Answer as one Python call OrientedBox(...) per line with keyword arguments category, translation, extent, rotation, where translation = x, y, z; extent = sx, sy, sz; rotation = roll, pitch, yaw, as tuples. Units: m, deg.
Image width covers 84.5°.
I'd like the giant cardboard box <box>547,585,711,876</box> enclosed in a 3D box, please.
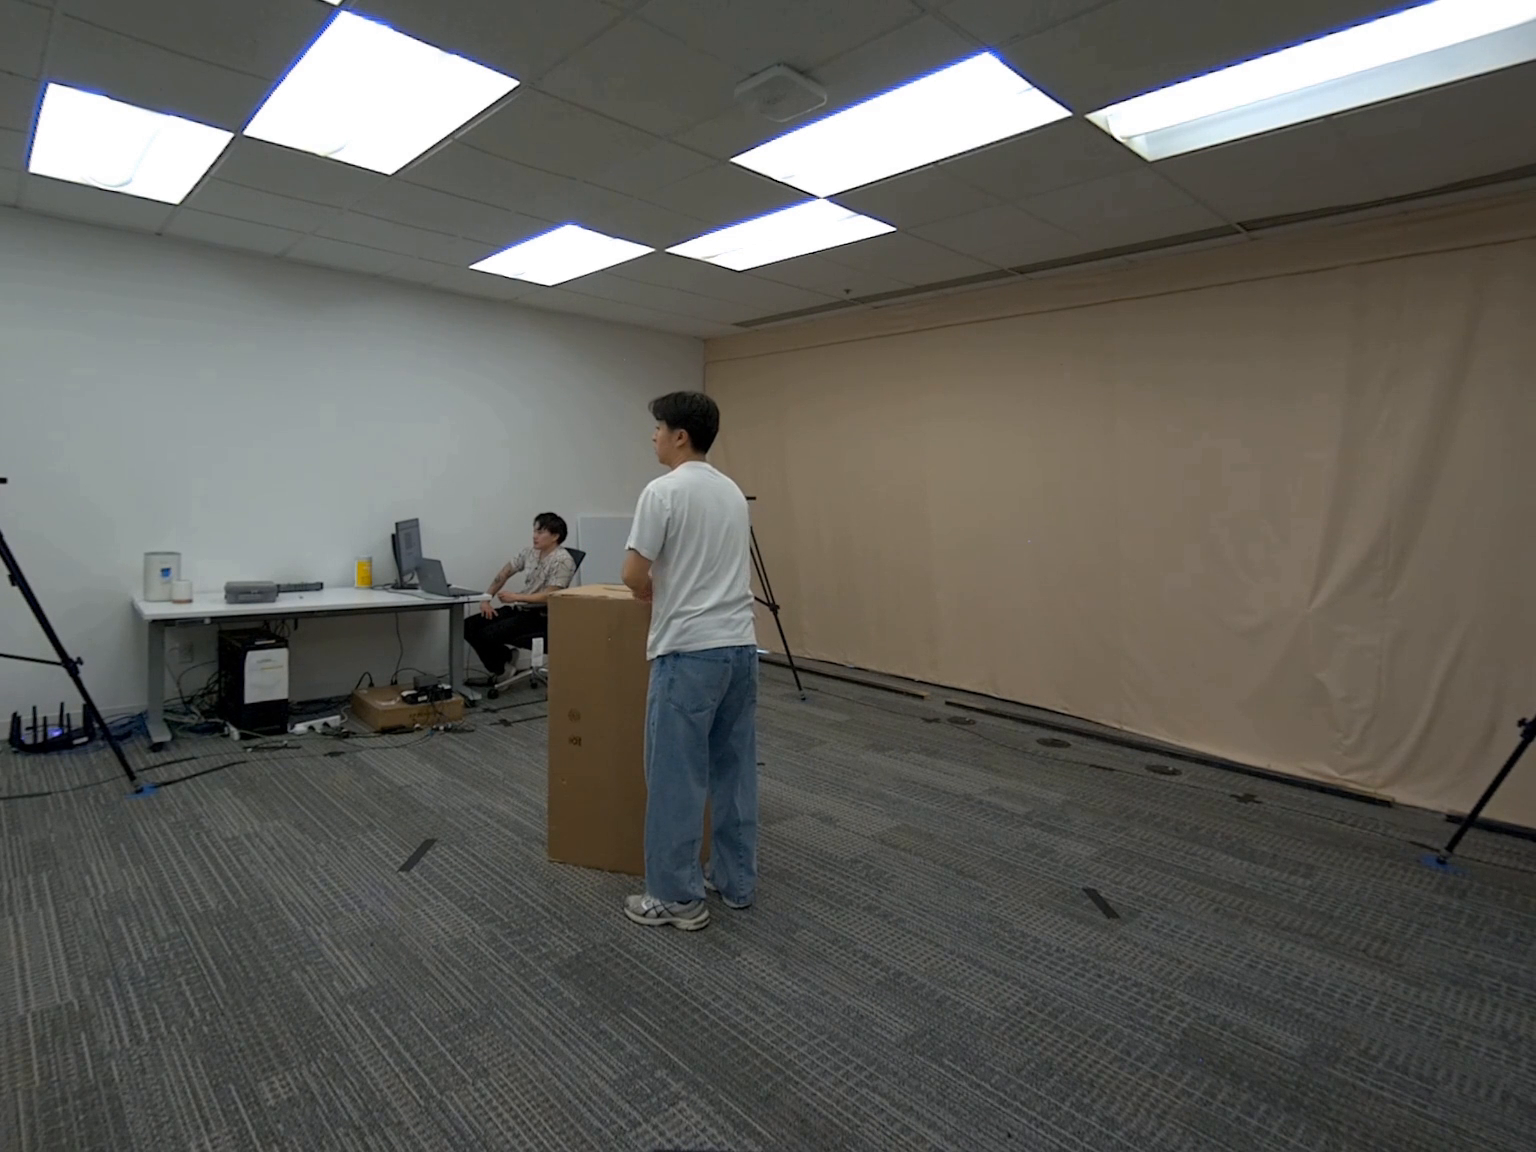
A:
OrientedBox(category="giant cardboard box", translation=(-0.508, 0.566, 3.289), extent=(0.585, 1.023, 0.421), rotation=(3, 4, 16))
